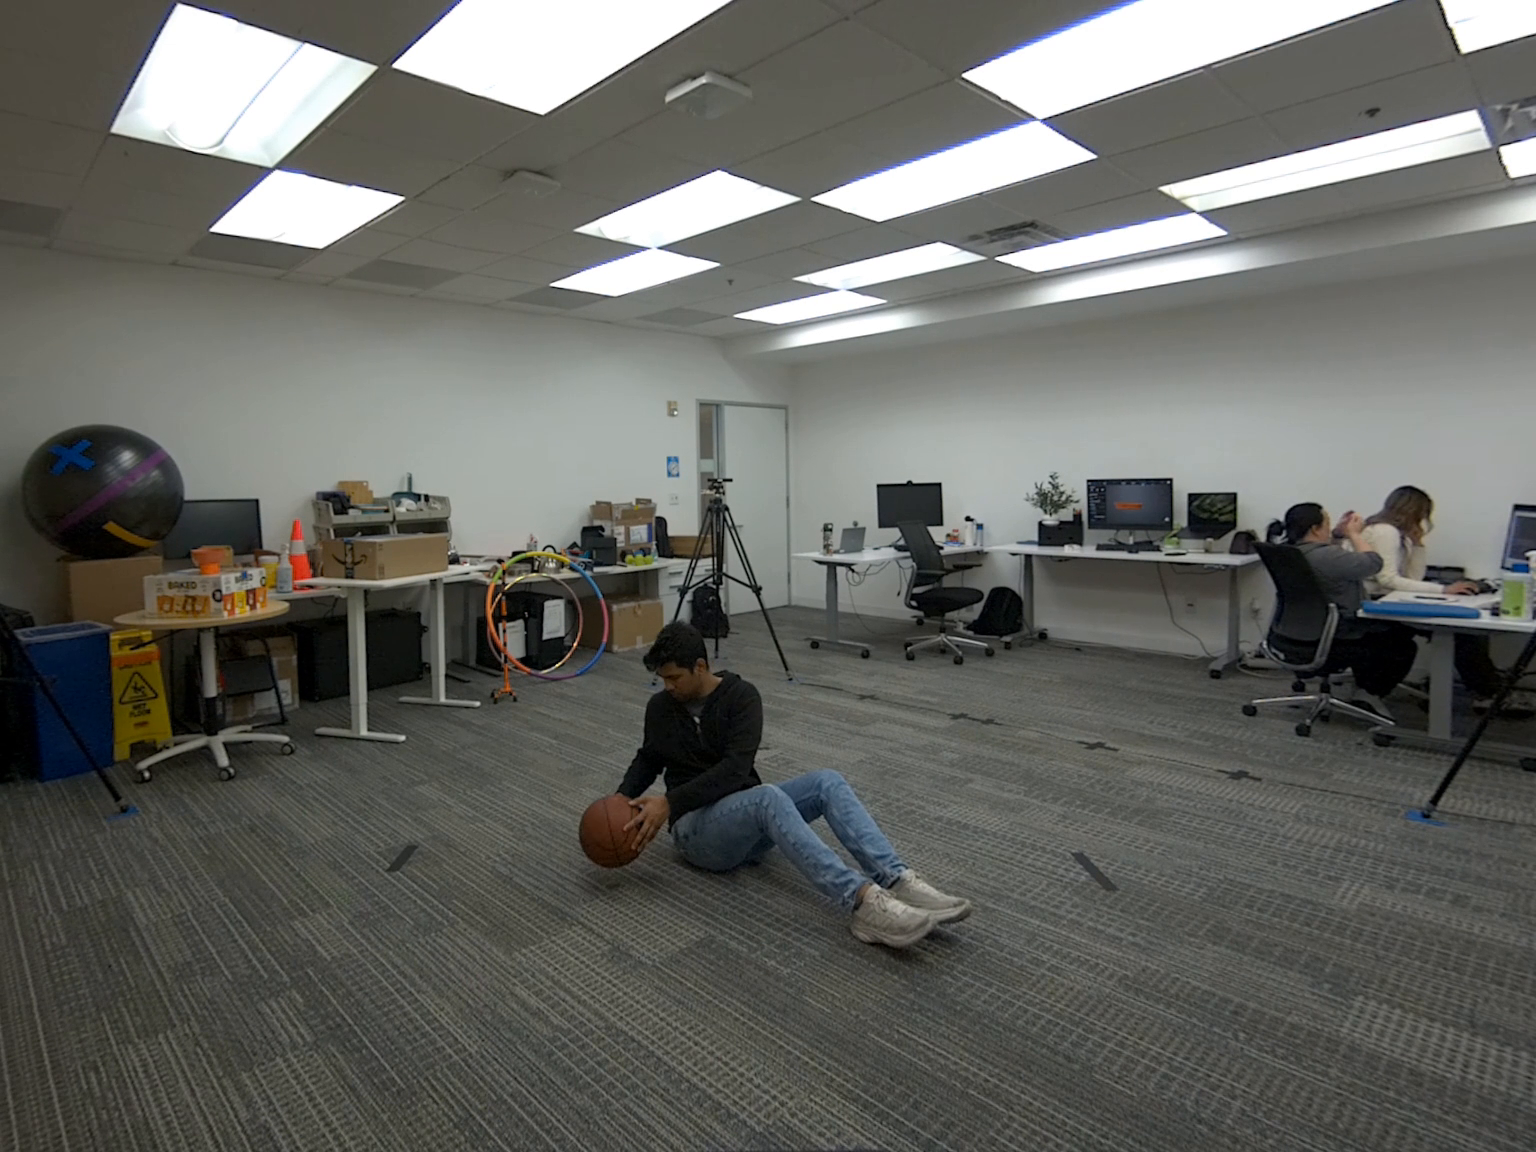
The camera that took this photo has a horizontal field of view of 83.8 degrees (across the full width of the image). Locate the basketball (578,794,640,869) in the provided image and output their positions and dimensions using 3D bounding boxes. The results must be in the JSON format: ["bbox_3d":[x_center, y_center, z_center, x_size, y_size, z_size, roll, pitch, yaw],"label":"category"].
[{"bbox_3d":[-0.517,0.871,2.925,0.236,0.235,0.237,-1,5,-2],"label":"basketball"}]
